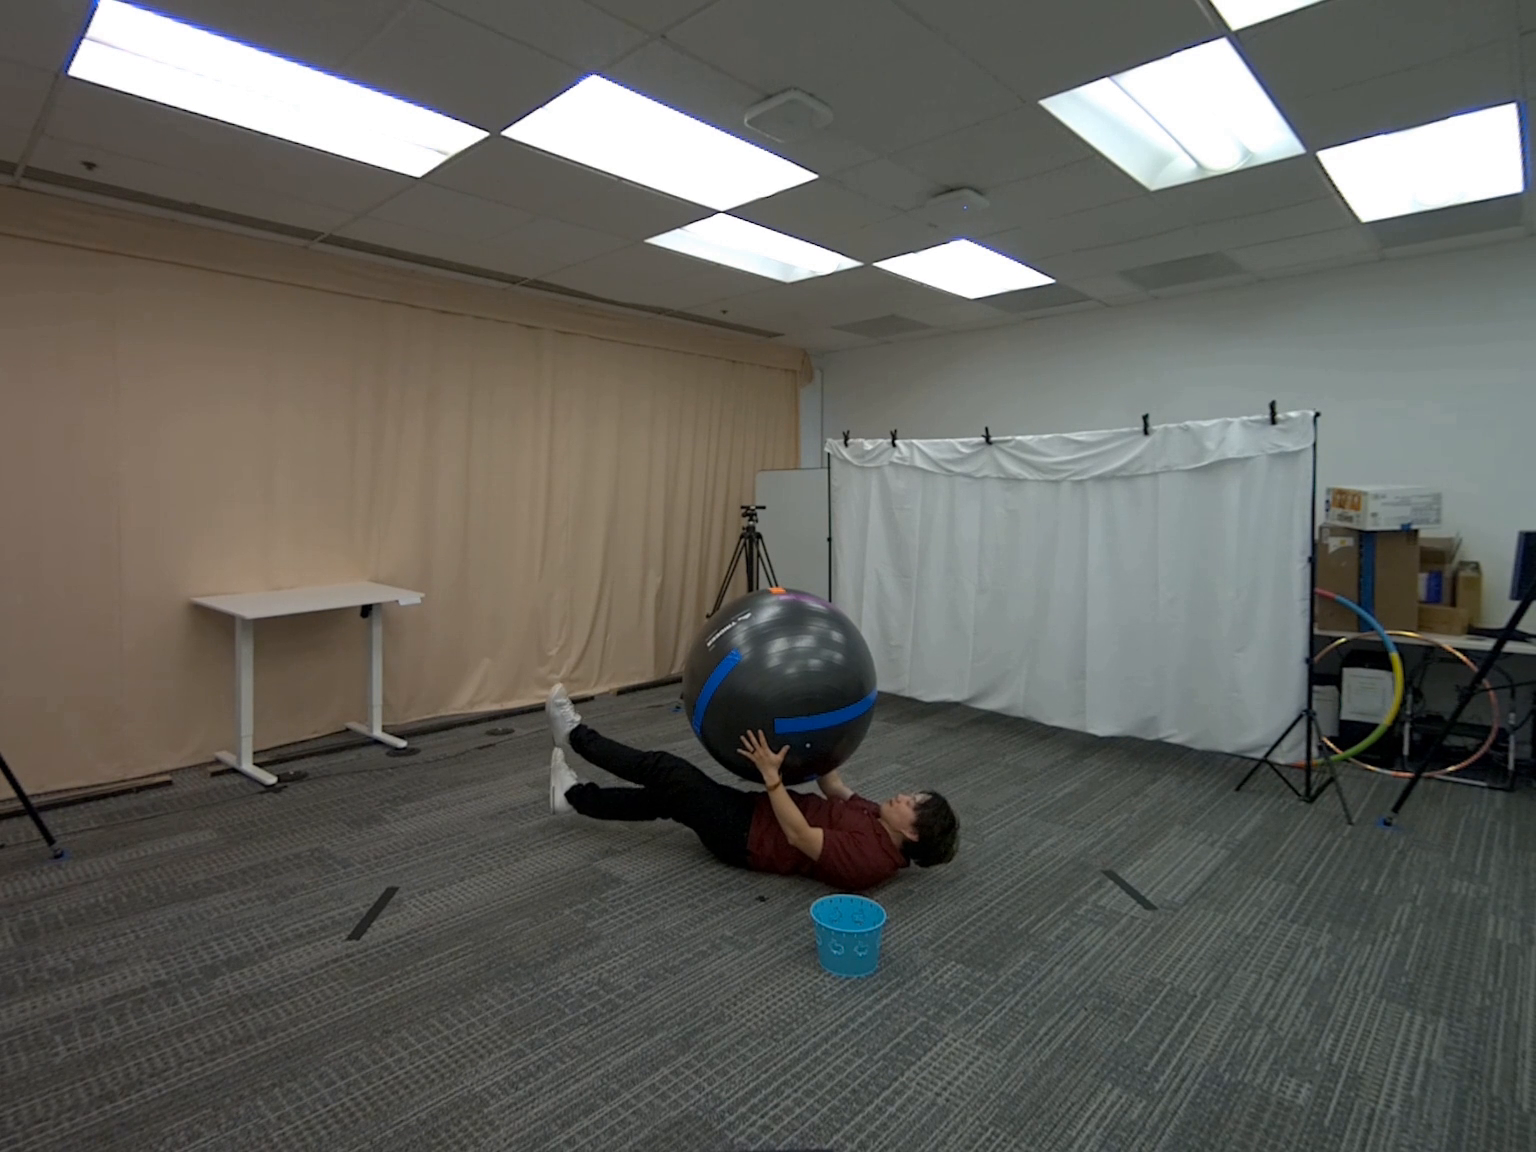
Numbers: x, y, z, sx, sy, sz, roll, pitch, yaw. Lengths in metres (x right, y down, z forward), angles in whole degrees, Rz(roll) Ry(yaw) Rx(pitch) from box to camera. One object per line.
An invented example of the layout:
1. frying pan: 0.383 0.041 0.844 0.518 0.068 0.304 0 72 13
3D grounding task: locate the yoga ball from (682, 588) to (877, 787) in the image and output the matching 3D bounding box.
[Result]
1. yoga ball: 0.042 0.427 3.304 0.757 0.756 0.760 0 4 -2
